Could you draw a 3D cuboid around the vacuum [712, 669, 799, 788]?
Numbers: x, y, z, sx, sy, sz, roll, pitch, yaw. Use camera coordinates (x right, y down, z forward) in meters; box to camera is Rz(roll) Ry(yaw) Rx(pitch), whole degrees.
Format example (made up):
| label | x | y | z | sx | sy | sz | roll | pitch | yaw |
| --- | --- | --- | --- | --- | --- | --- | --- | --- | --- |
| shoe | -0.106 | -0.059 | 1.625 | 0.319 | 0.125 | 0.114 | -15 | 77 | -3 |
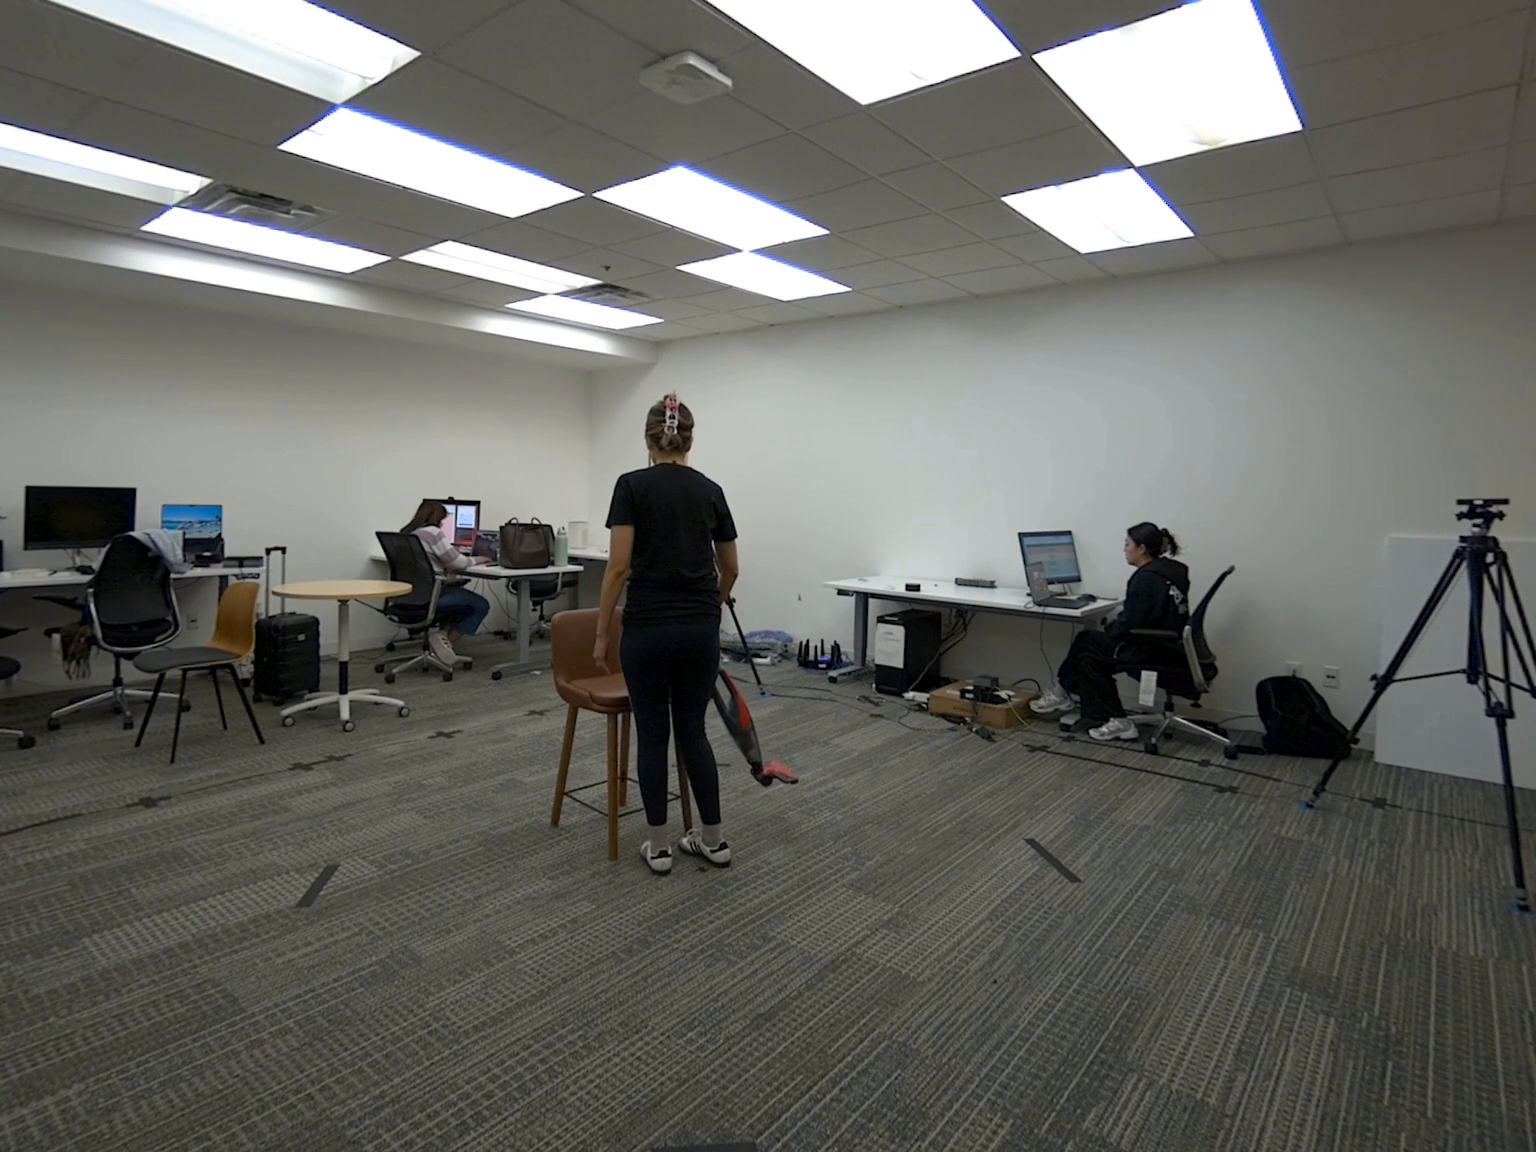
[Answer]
| label | x | y | z | sx | sy | sz | roll | pitch | yaw |
| --- | --- | --- | --- | --- | --- | --- | --- | --- | --- |
| vacuum | -0.231 | 0.398 | 3.460 | 0.143 | 1.035 | 0.257 | -31 | 11 | -14 |
